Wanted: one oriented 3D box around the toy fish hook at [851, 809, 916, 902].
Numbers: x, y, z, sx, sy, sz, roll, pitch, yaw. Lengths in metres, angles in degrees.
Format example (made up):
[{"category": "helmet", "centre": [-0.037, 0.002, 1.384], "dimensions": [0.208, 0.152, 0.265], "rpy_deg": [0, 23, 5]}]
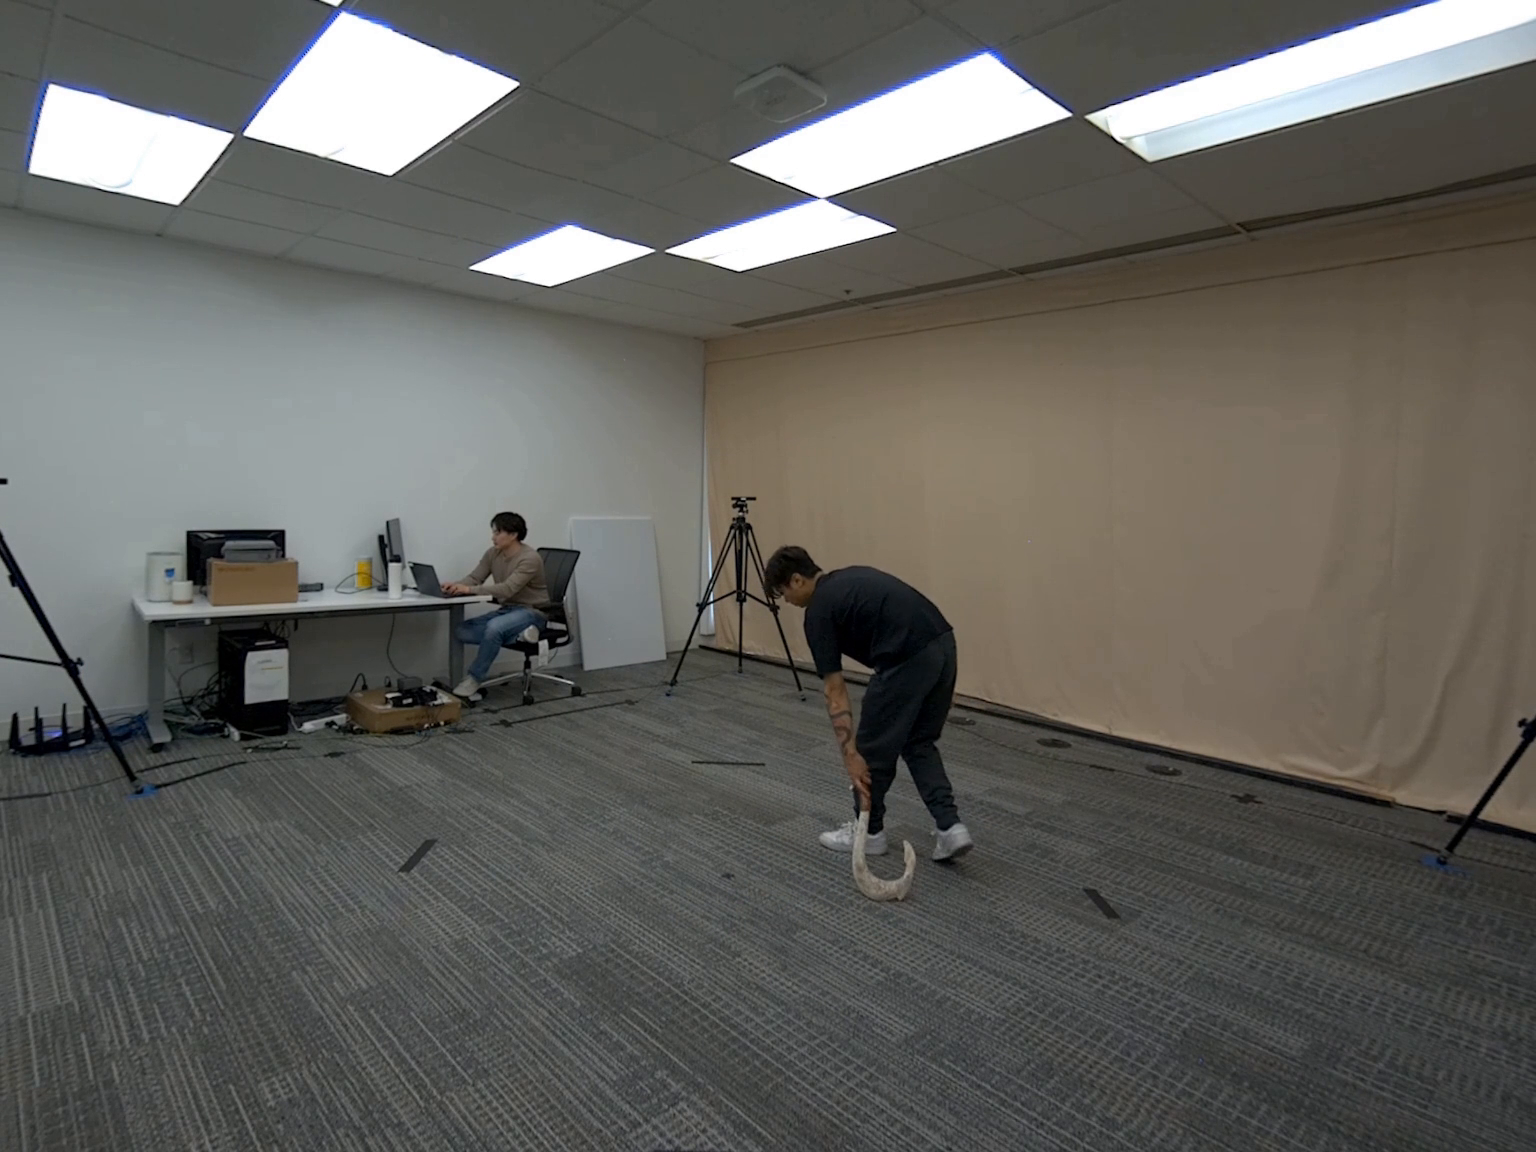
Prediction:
[{"category": "toy fish hook", "centre": [0.401, 0.915, 3.065], "dimensions": [0.225, 0.517, 0.047], "rpy_deg": [-5, -30, 1]}]
